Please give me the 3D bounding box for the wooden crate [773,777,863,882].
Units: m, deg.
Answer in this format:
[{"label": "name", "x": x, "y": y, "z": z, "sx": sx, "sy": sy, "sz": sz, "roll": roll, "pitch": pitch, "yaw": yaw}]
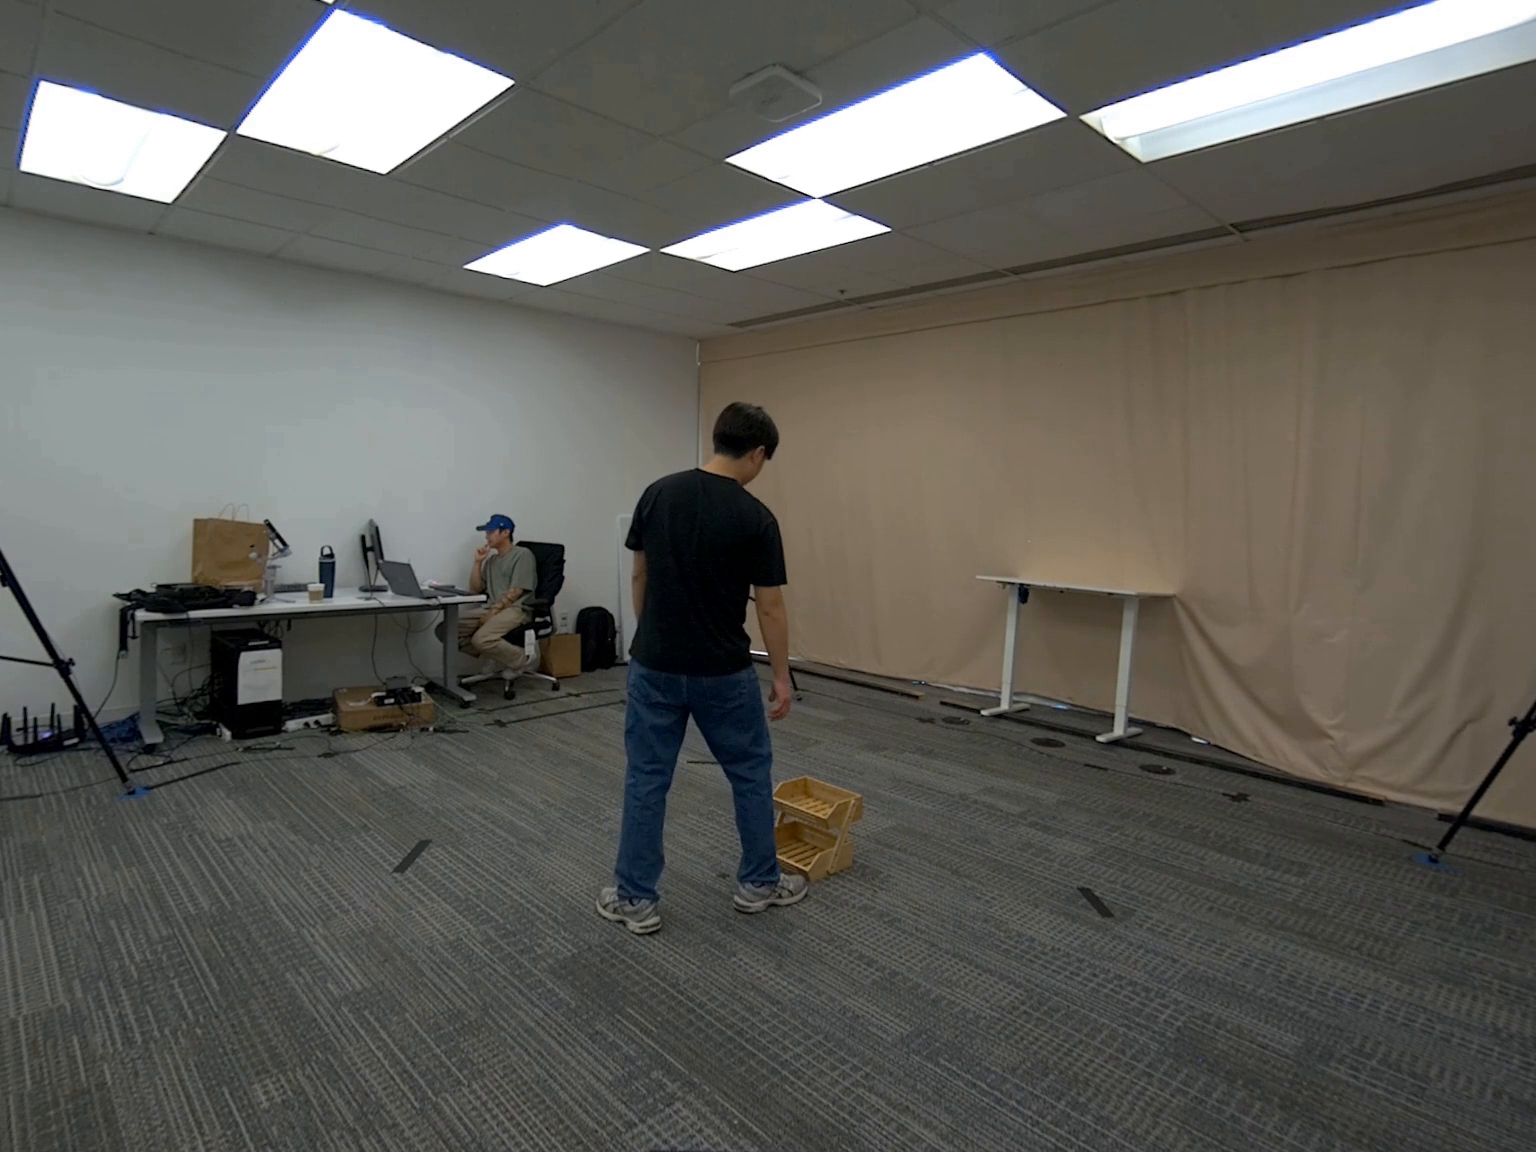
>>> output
[{"label": "wooden crate", "x": 0.143, "y": 0.967, "z": 3.258, "sx": 0.295, "sy": 0.273, "sz": 0.333, "roll": -2, "pitch": 5, "yaw": -43}]
